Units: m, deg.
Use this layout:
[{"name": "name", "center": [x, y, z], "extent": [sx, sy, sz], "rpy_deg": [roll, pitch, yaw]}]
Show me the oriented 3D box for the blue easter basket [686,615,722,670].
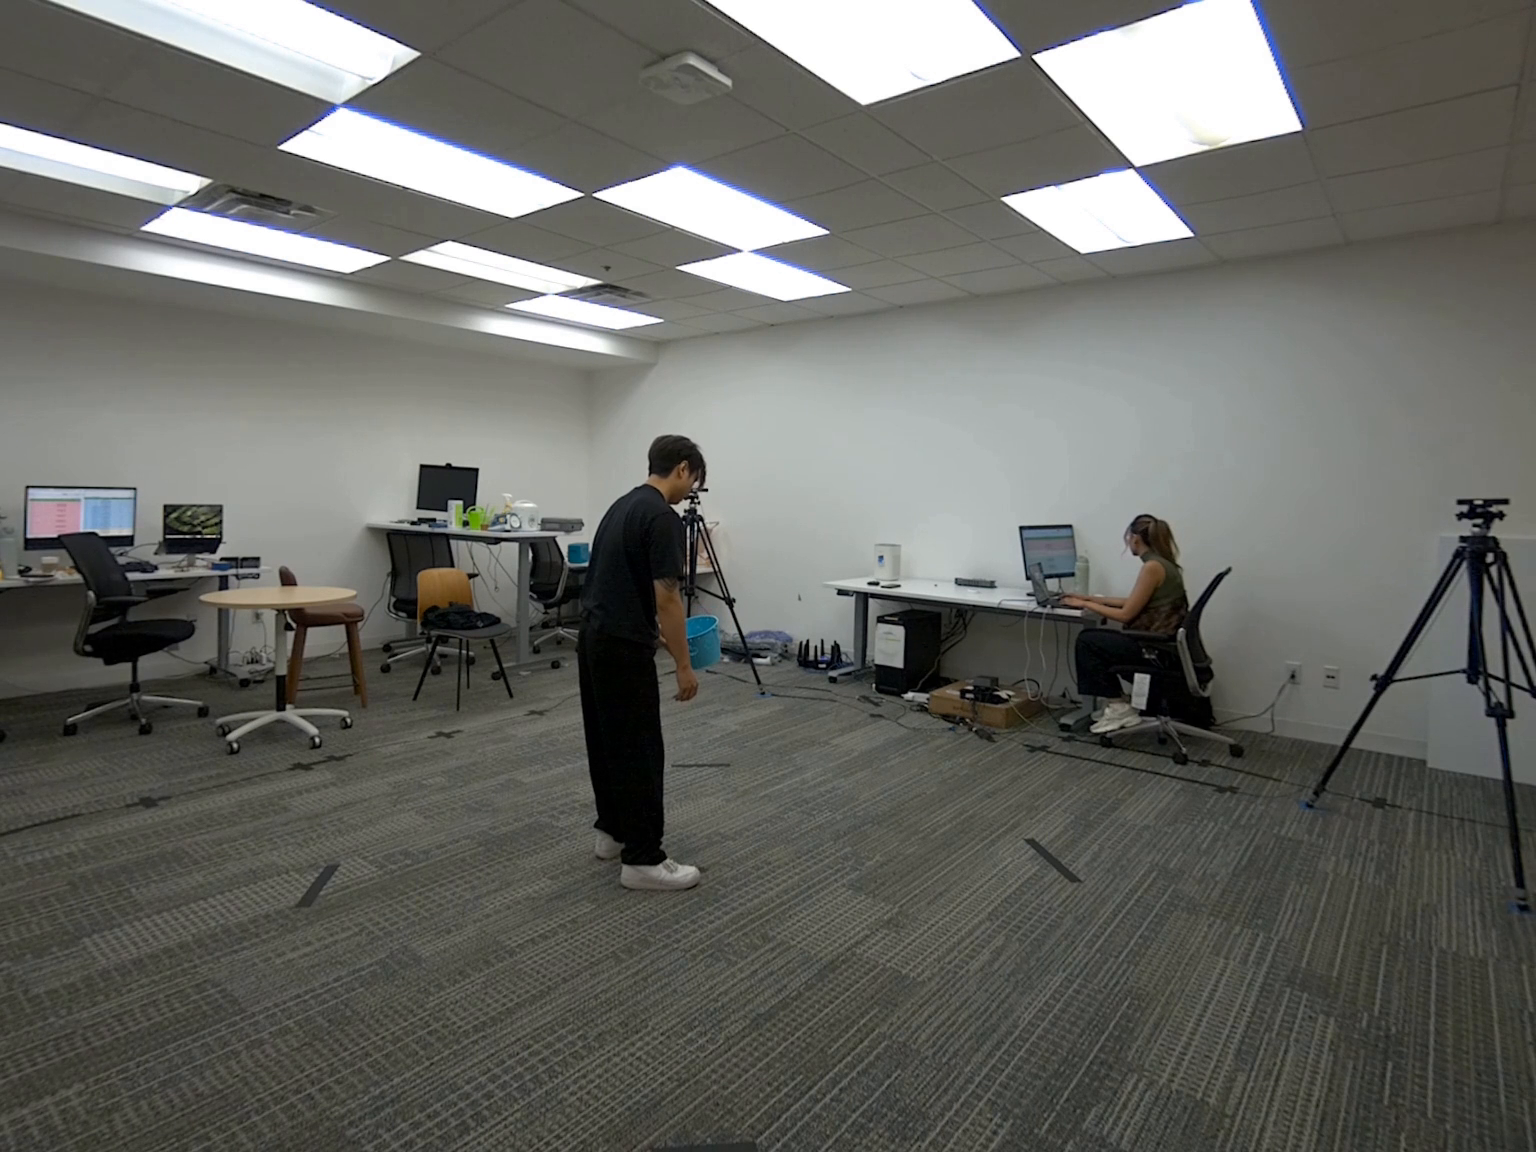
[{"name": "blue easter basket", "center": [-0.304, 0.283, 3.533], "extent": [0.244, 0.153, 0.247], "rpy_deg": [-13, 17, 2]}]
